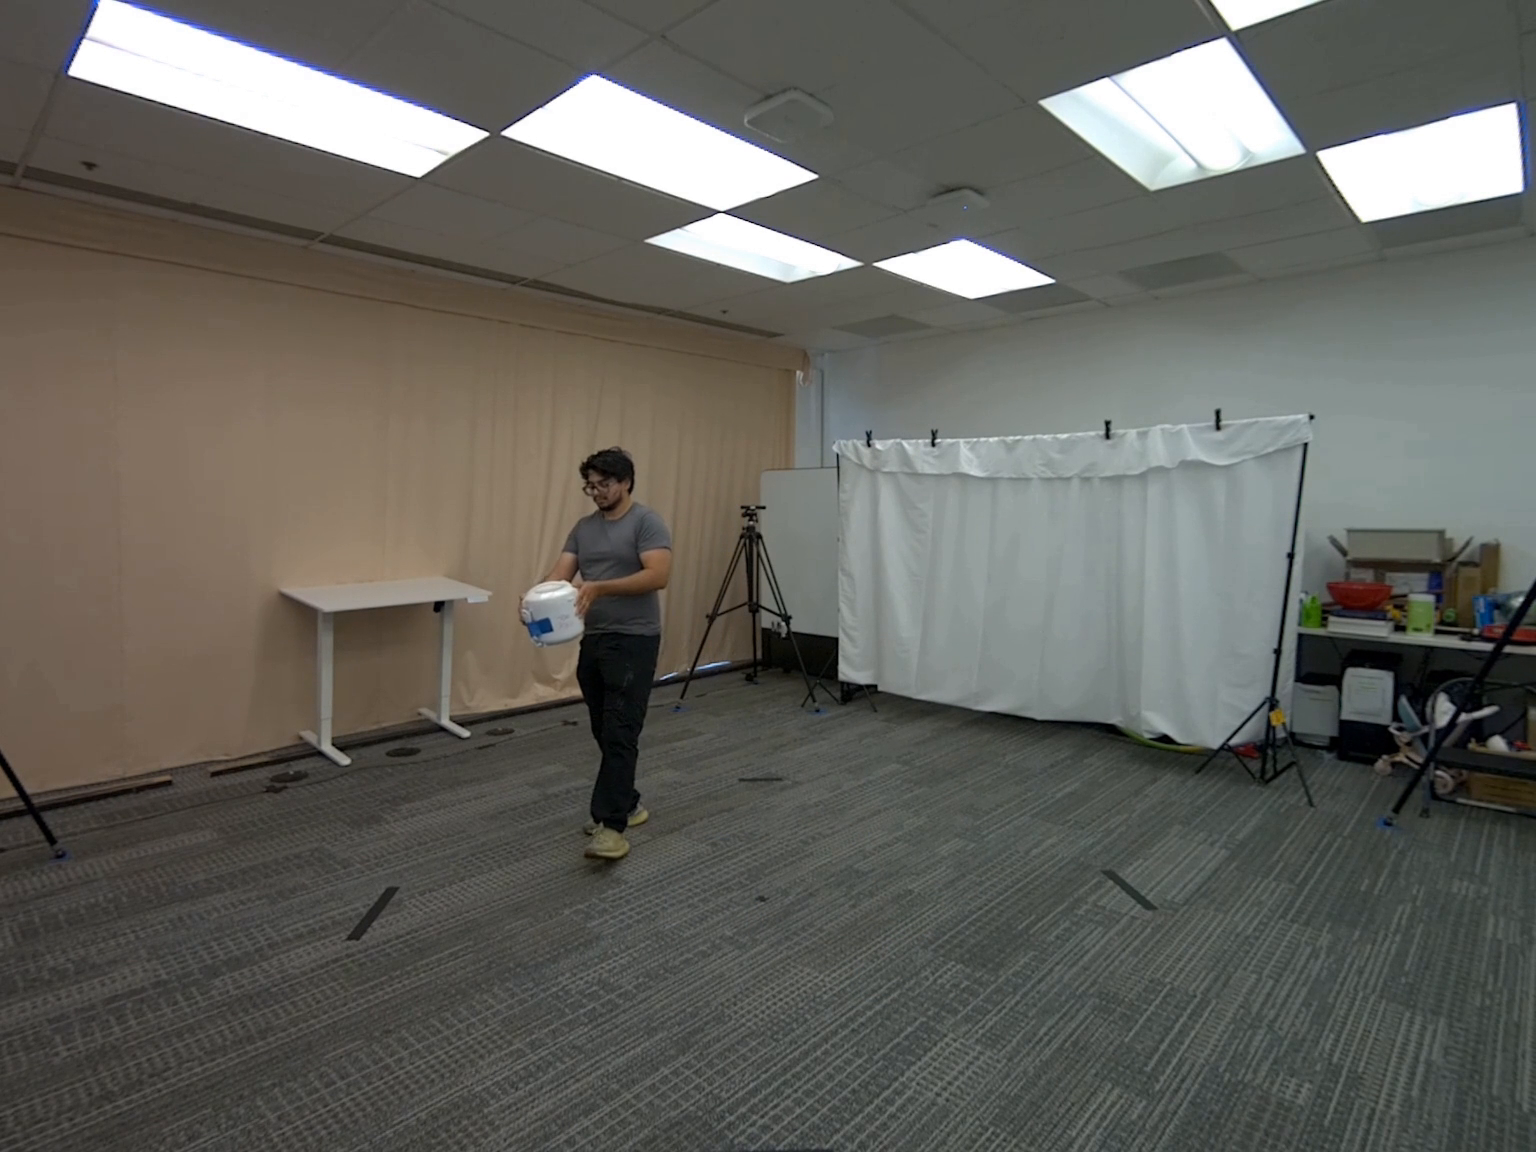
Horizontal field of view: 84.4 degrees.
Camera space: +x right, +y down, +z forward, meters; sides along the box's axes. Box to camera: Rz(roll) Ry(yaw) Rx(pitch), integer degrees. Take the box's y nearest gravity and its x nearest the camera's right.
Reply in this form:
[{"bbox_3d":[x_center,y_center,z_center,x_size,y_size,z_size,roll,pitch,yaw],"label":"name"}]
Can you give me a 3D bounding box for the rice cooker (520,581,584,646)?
[{"bbox_3d":[-0.829,0.140,3.271,0.220,0.231,0.220,-11,10,-5],"label":"rice cooker"}]
